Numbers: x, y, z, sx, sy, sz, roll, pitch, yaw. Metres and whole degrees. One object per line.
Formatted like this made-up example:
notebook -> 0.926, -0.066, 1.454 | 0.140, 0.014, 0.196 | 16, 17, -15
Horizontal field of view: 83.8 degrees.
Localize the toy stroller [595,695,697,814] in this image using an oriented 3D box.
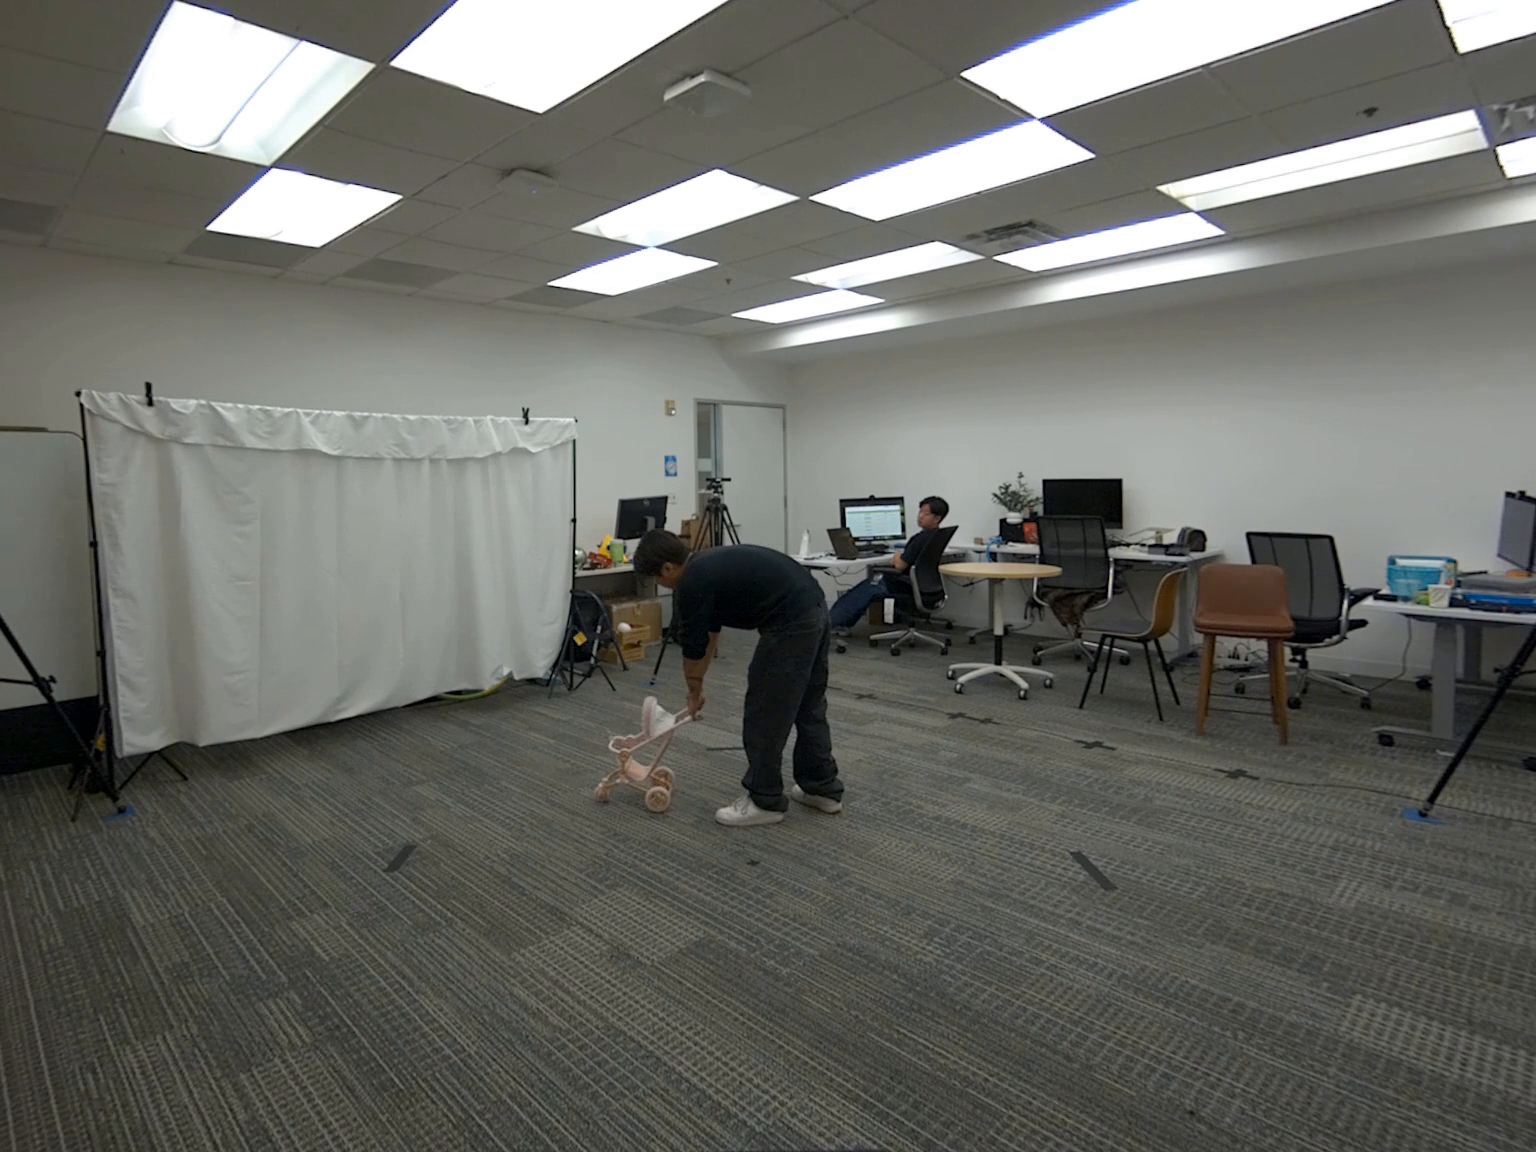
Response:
toy stroller -> -0.527, 0.762, 3.722 | 0.343, 0.533, 0.281 | 16, 4, 4
